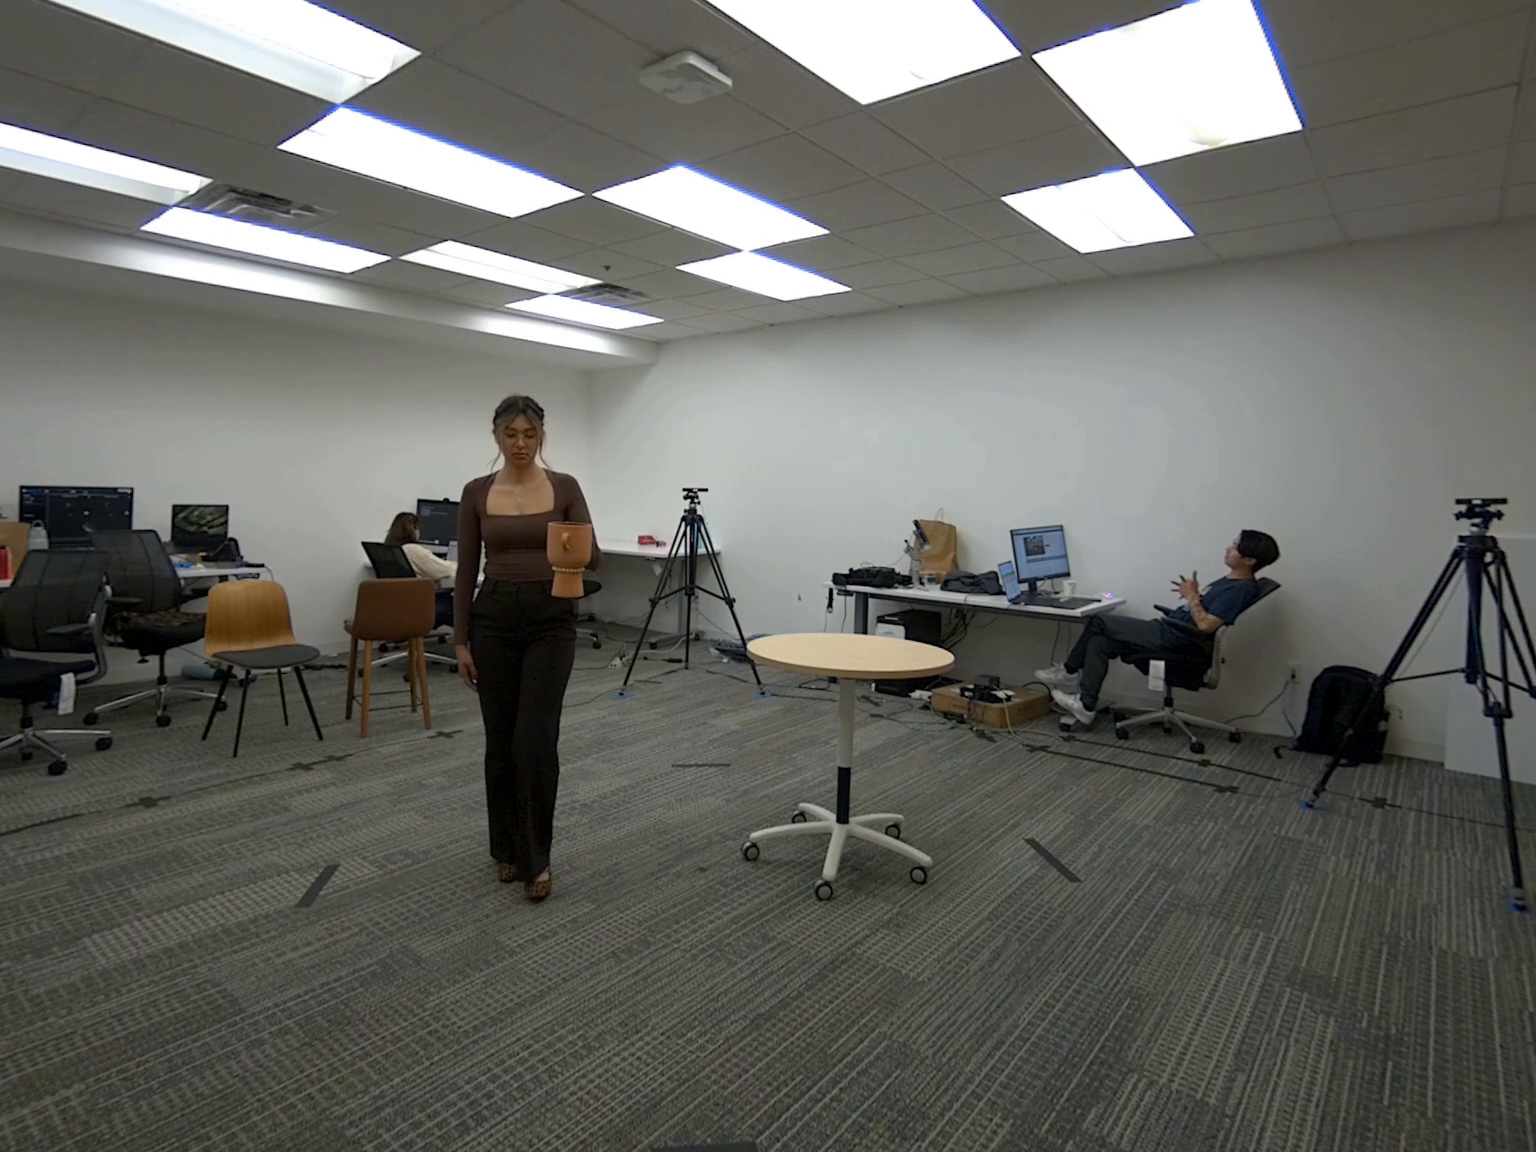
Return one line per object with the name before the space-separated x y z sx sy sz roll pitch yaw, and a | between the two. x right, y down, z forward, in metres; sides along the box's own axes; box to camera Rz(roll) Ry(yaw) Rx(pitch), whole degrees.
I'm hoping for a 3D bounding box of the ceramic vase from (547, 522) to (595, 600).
ceramic vase | -0.621 -0.053 2.612 0.139 0.219 0.154 9 6 38
